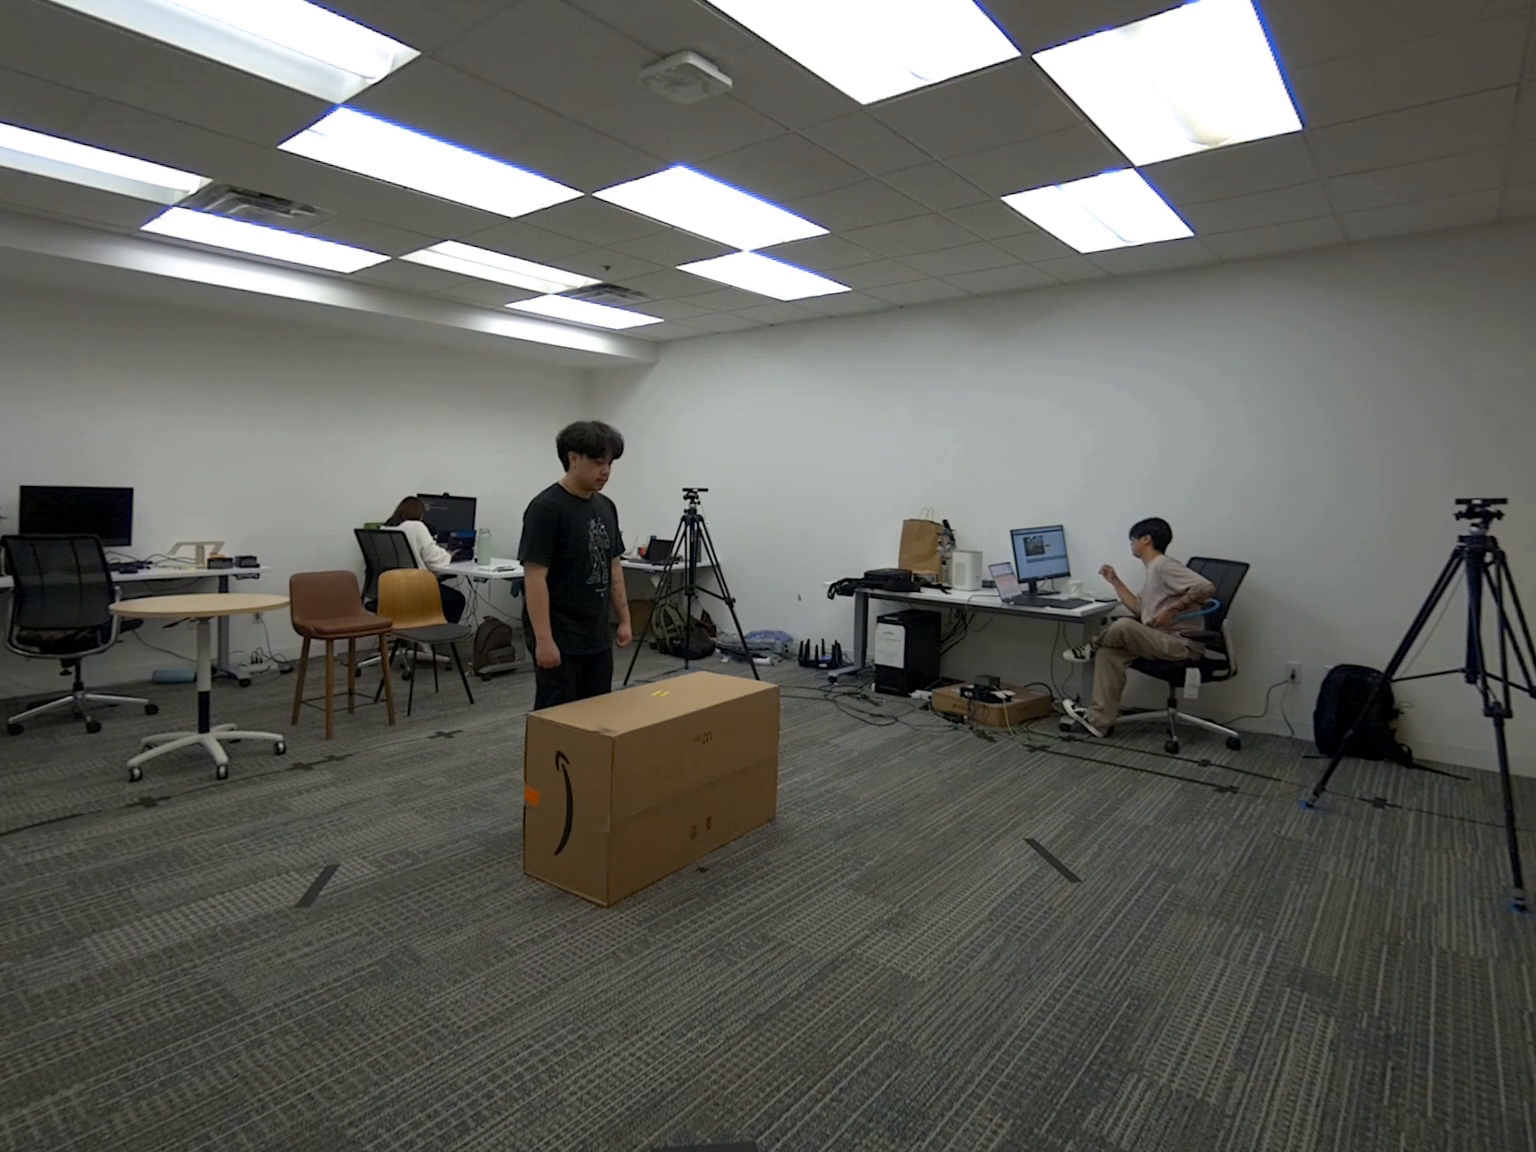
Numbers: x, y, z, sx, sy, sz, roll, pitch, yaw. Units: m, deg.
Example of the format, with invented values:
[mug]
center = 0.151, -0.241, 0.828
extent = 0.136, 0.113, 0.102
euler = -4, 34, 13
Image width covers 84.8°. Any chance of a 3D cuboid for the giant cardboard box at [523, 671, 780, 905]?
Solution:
[giant cardboard box]
center = -0.421, 0.762, 3.315
extent = 0.461, 0.582, 0.998
euler = 3, 4, 35
